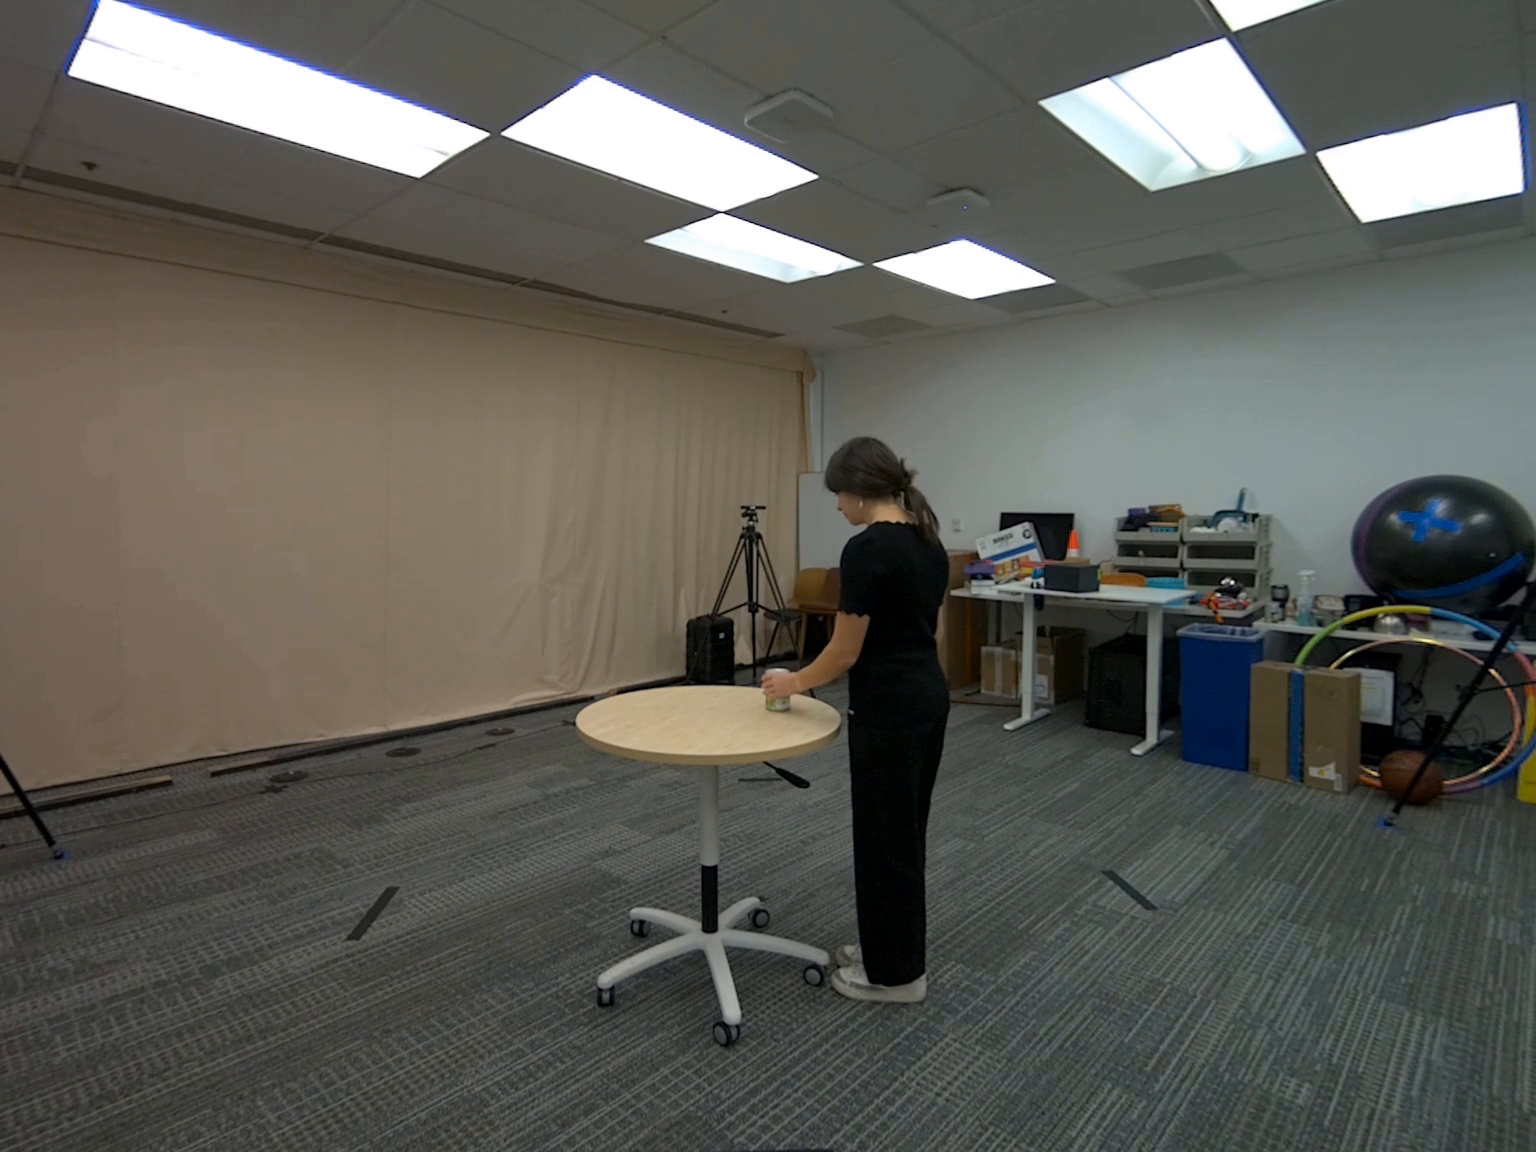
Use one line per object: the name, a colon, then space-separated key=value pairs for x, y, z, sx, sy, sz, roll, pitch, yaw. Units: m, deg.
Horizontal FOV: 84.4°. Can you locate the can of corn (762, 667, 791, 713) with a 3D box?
can of corn: x=0.033 y=0.346 z=2.536 sx=0.074 sy=0.111 sz=0.074 roll=4 pitch=4 yaw=-2
